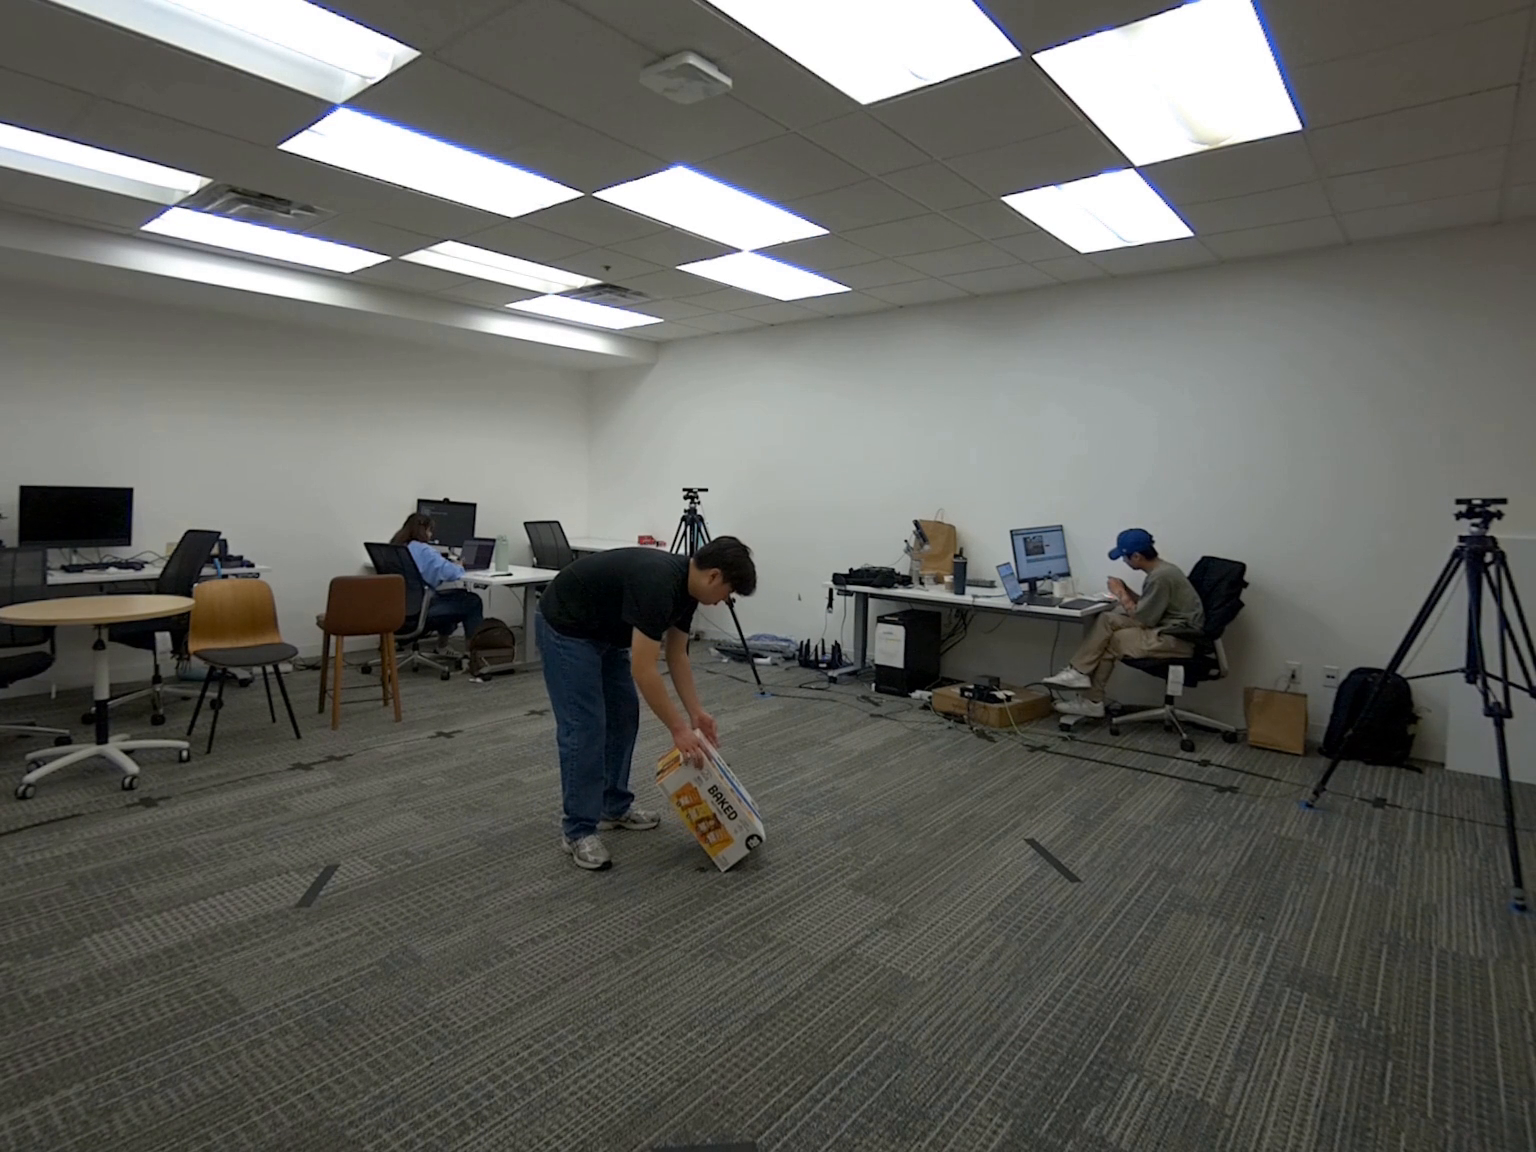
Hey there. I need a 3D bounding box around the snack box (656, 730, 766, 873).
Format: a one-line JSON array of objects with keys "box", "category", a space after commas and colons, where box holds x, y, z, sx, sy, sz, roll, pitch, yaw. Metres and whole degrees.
[{"box": [-0.234, 0.839, 3.238, 0.205, 0.403, 0.342, -36, 5, -1], "category": "snack box"}]
